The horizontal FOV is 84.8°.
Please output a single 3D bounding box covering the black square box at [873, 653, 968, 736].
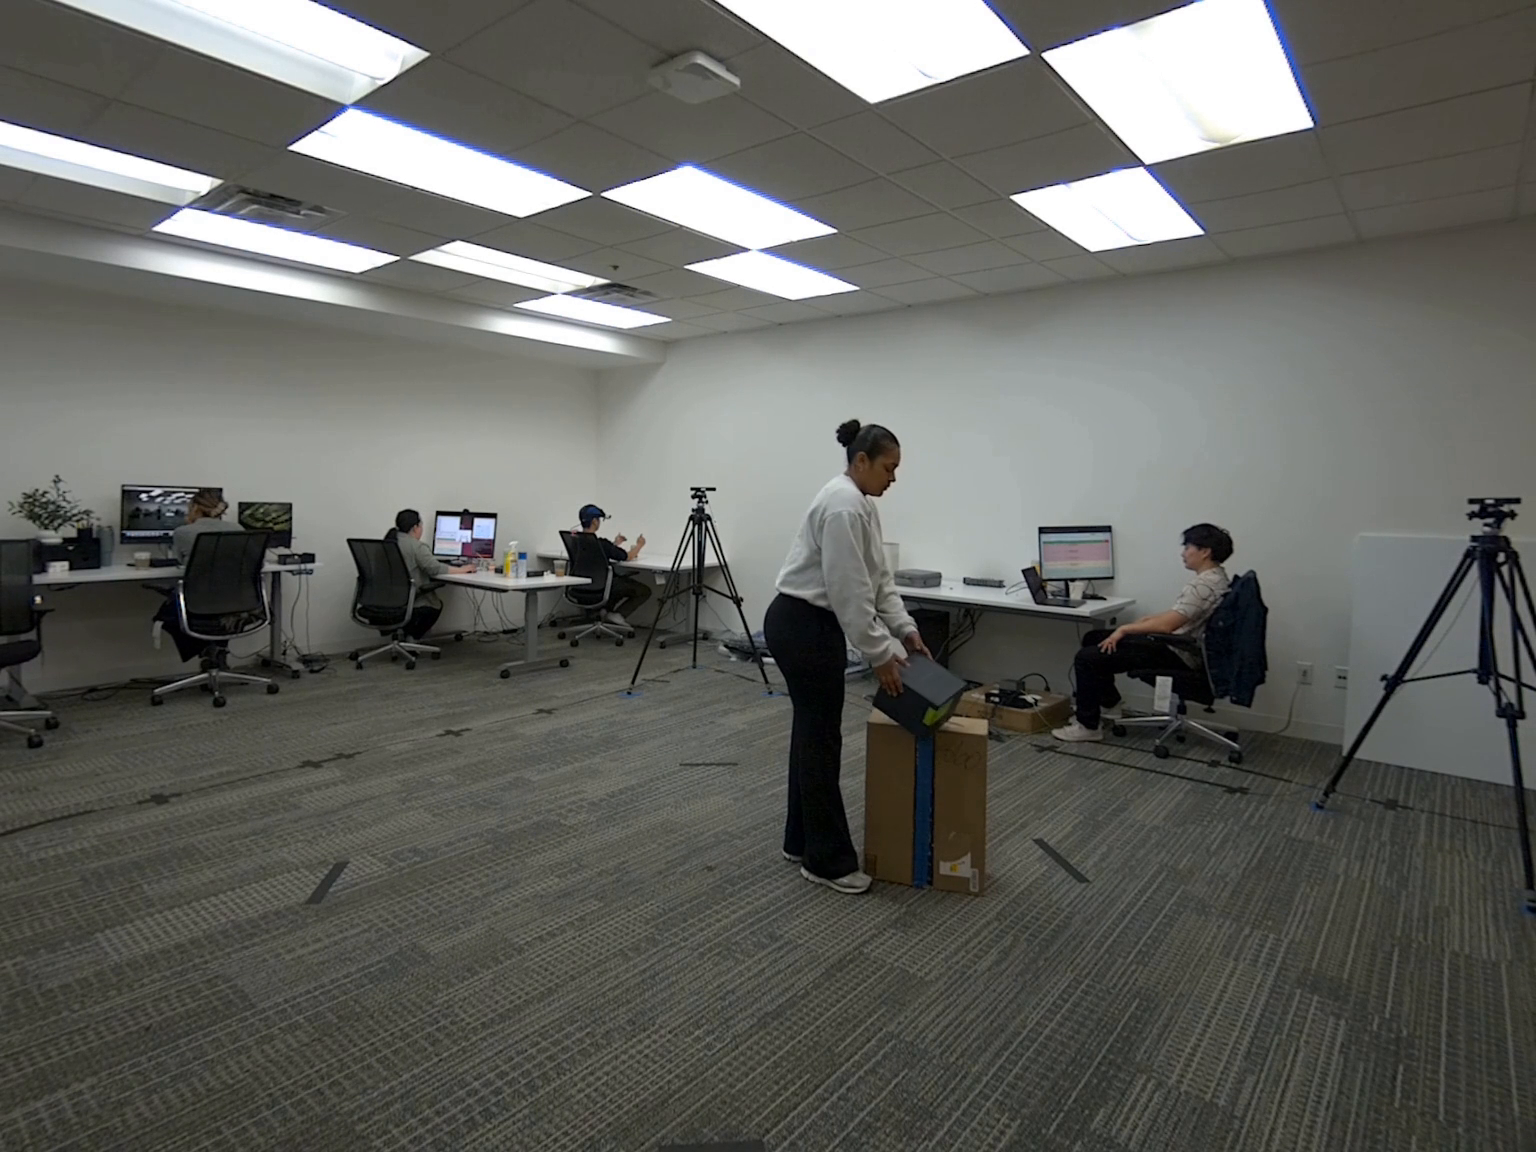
[{"bbox_3d":[0.515,0.410,2.960,0.225,0.153,0.223,33,32,29],"label":"black square box"}]
